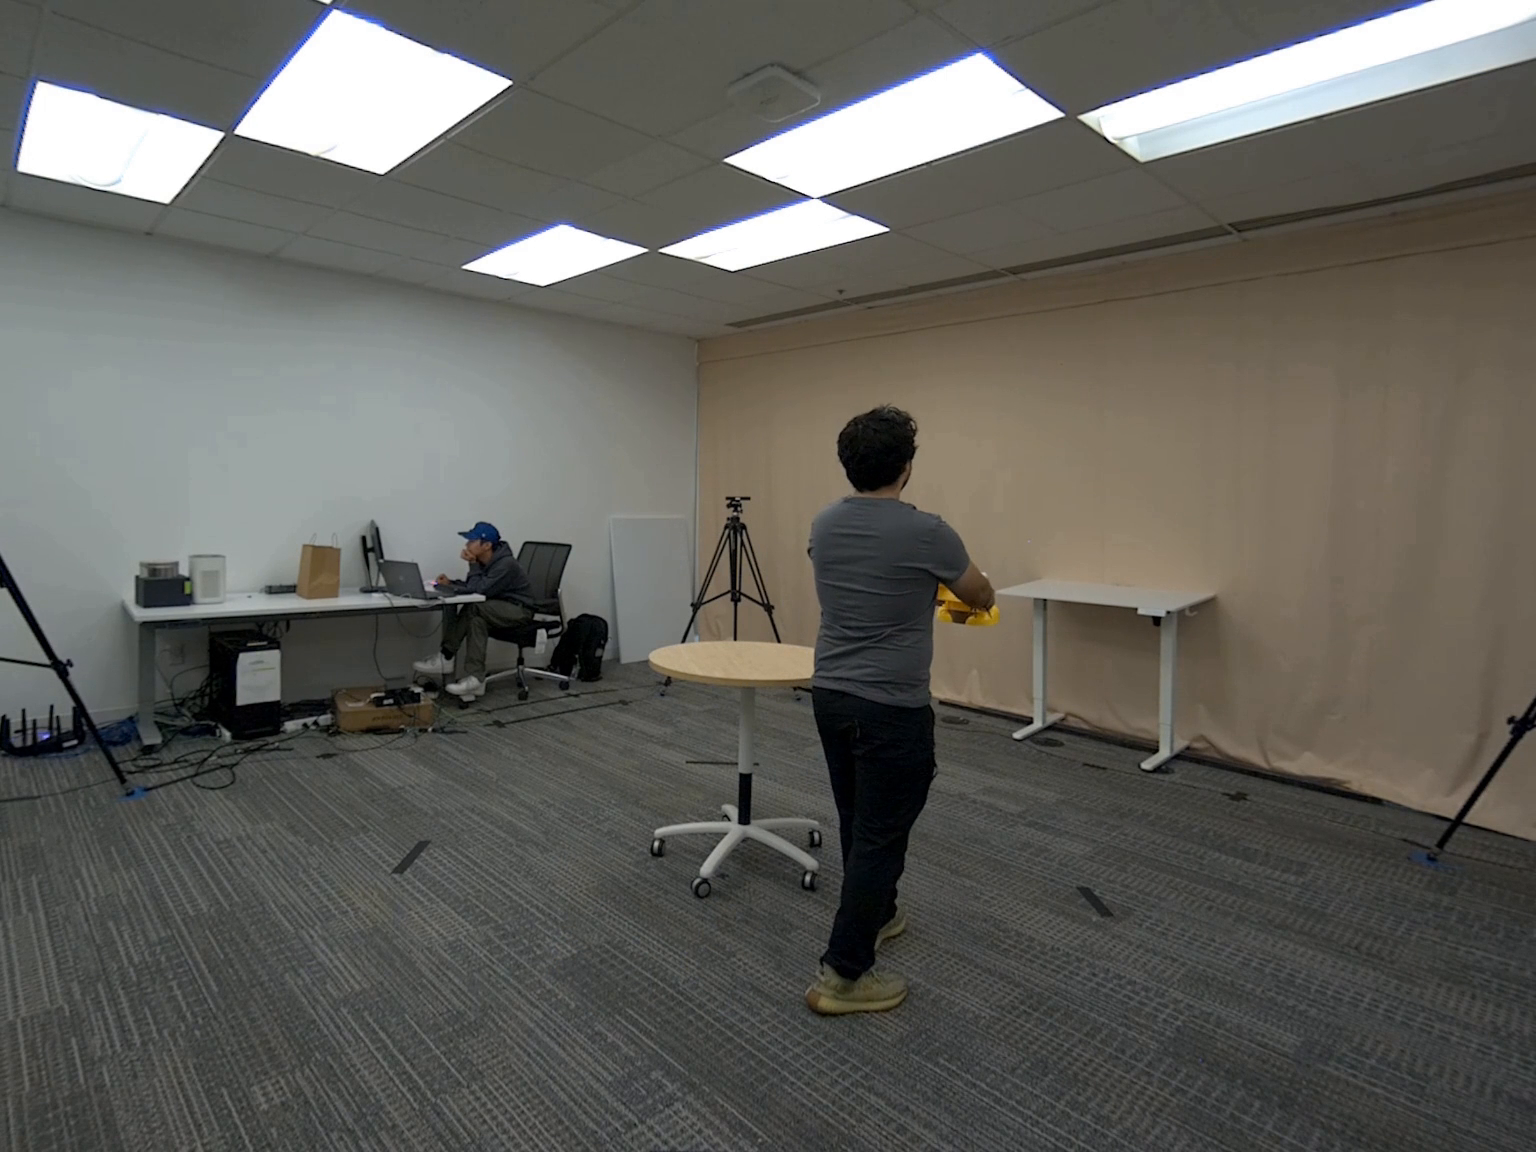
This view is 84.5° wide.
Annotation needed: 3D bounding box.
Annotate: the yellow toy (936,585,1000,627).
[{"bbox_3d":[0.667,0.036,2.832,0.210,0.229,0.189,5,10,36],"label":"yellow toy"}]
